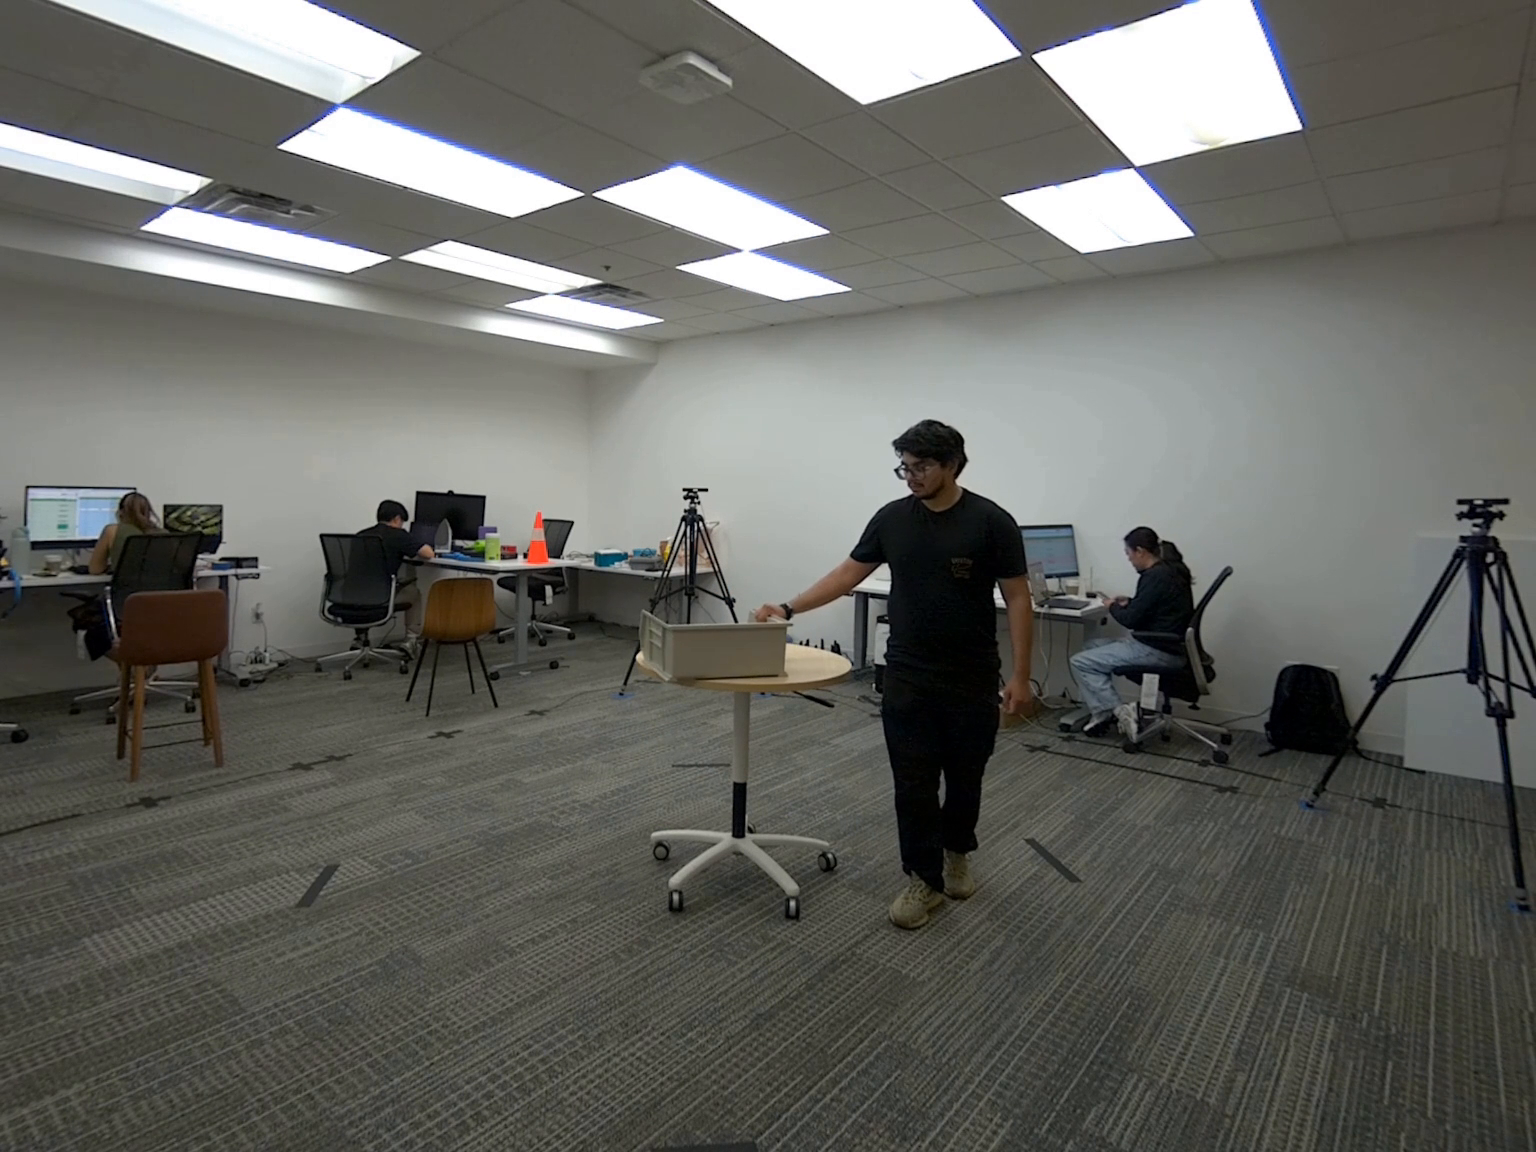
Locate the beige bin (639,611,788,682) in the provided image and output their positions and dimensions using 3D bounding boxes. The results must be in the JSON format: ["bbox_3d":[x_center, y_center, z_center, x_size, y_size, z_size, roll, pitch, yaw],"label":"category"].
[{"bbox_3d":[-0.194,0.217,2.871,0.414,0.188,0.387,1,7,-20],"label":"beige bin"}]
